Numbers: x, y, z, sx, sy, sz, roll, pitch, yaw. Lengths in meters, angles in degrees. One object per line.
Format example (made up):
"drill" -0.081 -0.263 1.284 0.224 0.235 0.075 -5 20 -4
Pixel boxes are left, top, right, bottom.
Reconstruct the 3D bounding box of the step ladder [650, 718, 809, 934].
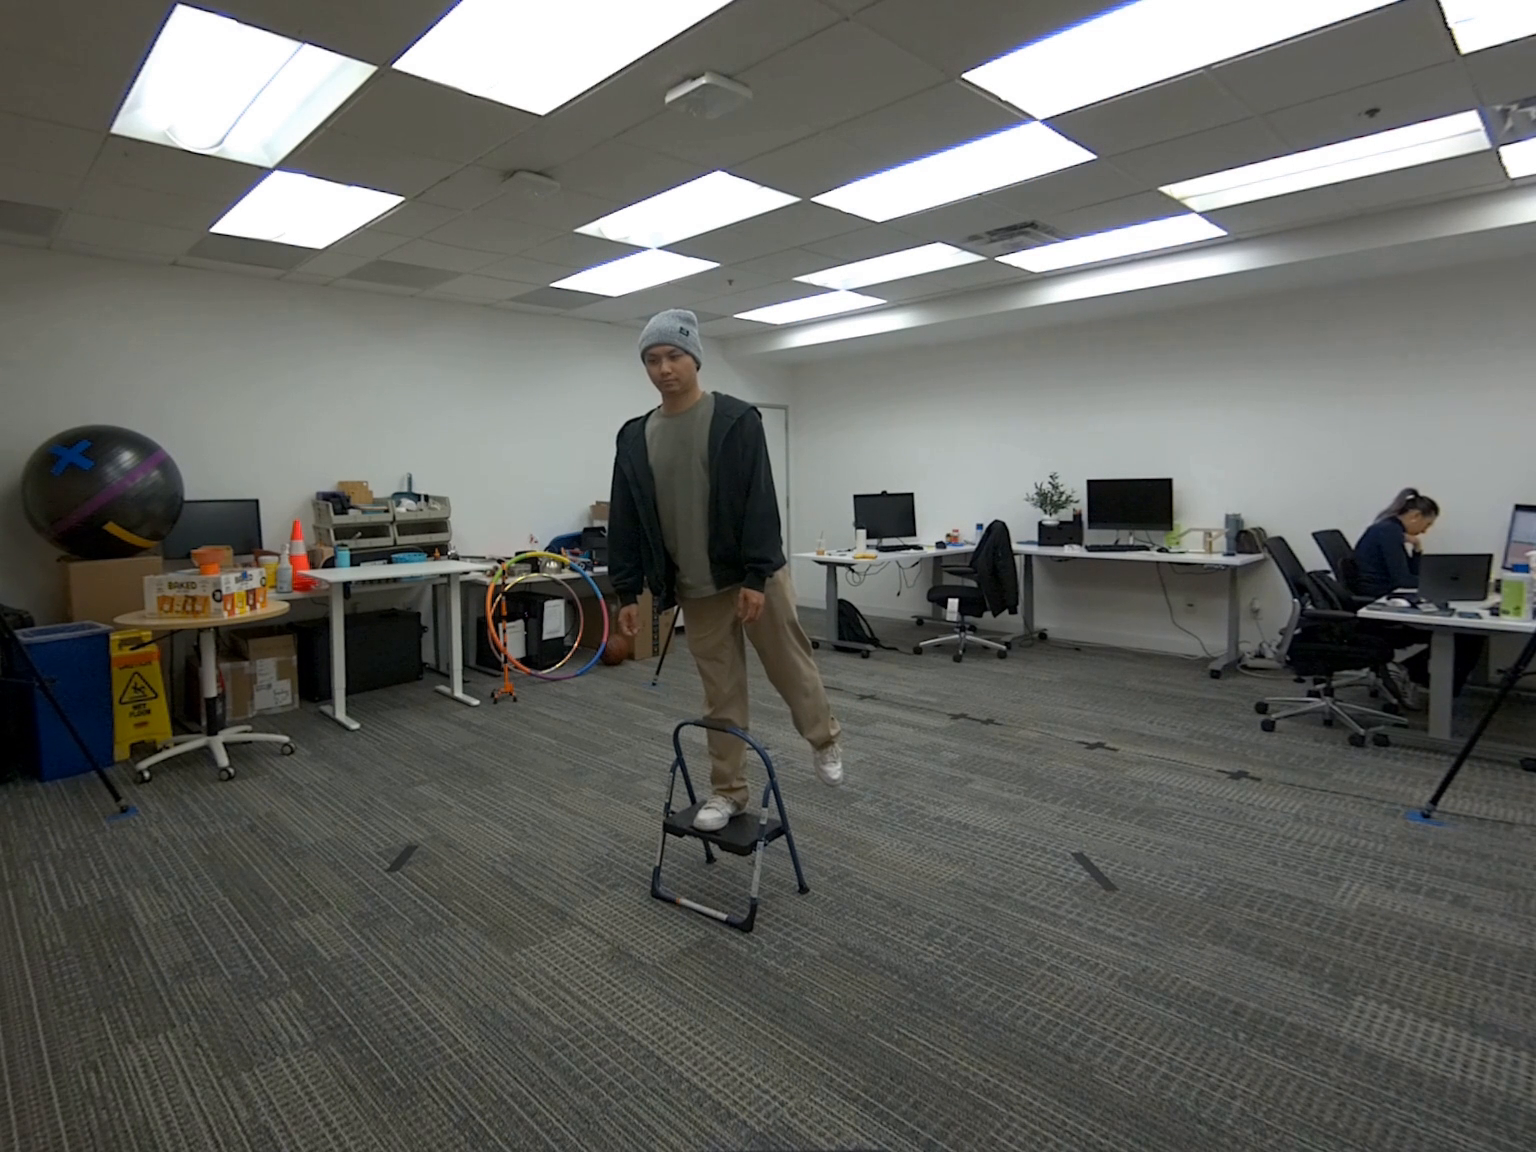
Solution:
"step ladder" -0.134 0.772 2.864 0.443 0.604 0.341 2 6 35
